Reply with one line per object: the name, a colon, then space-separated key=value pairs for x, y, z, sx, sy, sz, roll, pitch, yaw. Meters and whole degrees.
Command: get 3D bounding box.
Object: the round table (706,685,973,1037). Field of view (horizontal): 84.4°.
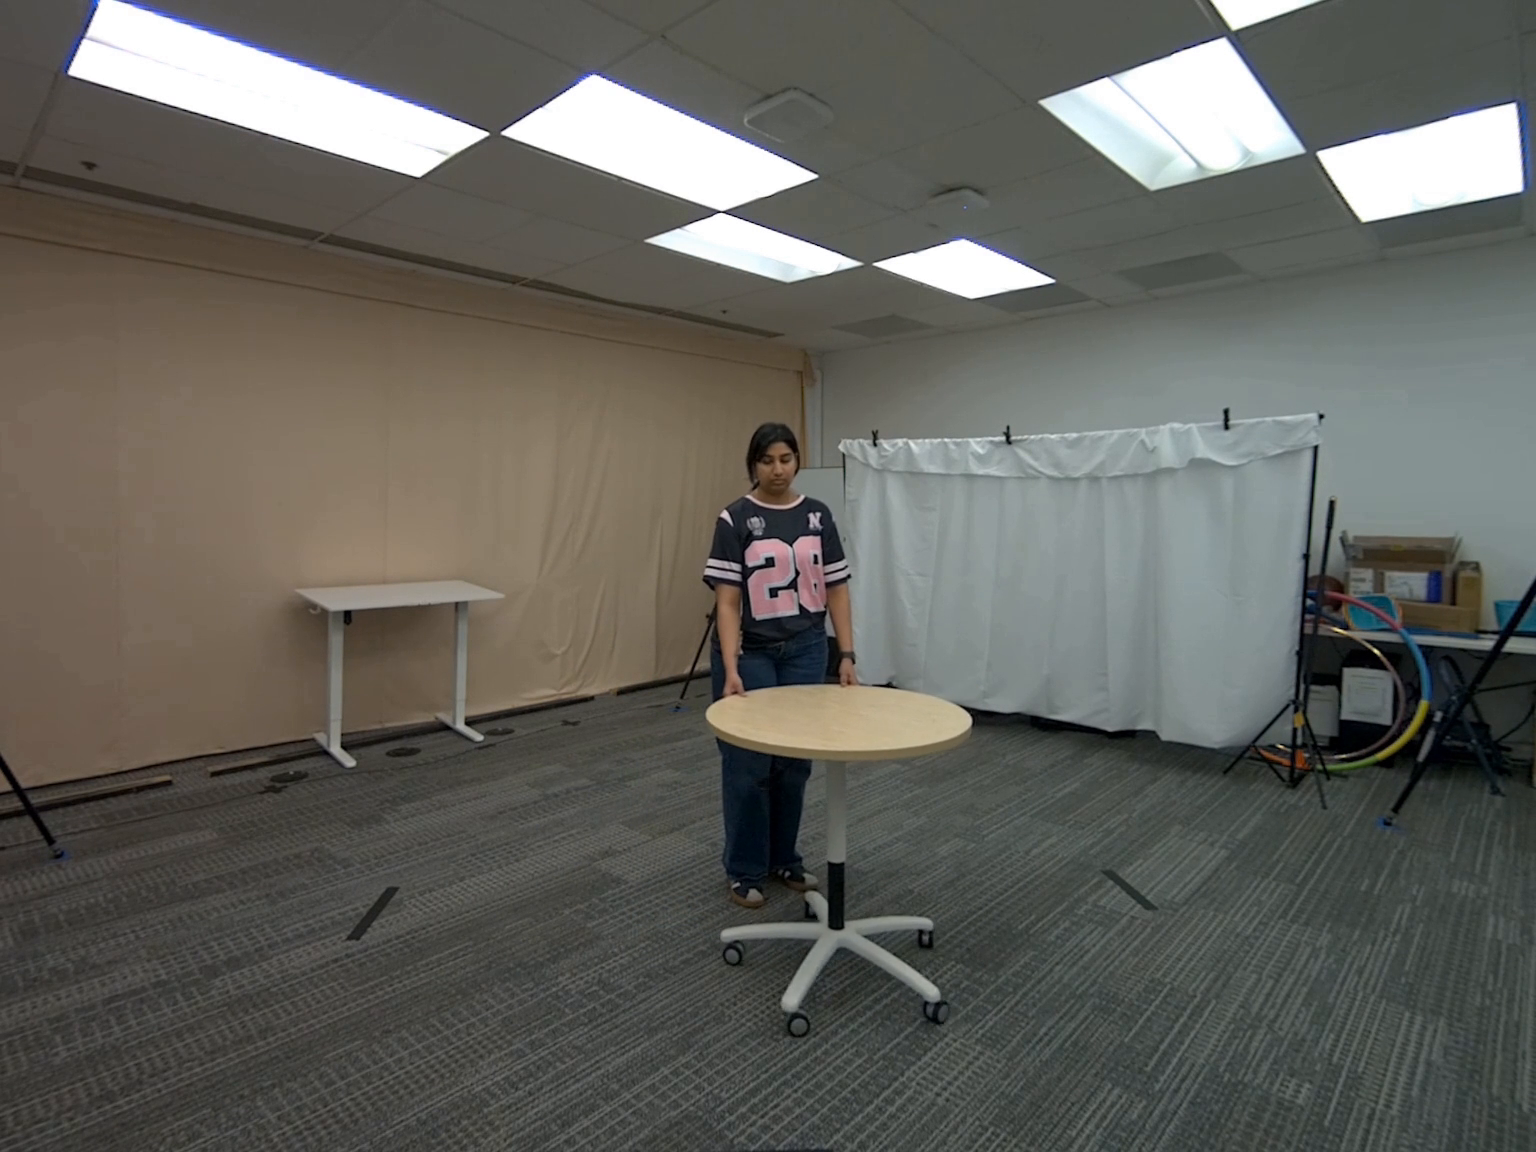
round table: x=0.208 y=0.789 z=2.506 sx=0.784 sy=0.784 sz=0.788 roll=-1 pitch=4 yaw=-2
